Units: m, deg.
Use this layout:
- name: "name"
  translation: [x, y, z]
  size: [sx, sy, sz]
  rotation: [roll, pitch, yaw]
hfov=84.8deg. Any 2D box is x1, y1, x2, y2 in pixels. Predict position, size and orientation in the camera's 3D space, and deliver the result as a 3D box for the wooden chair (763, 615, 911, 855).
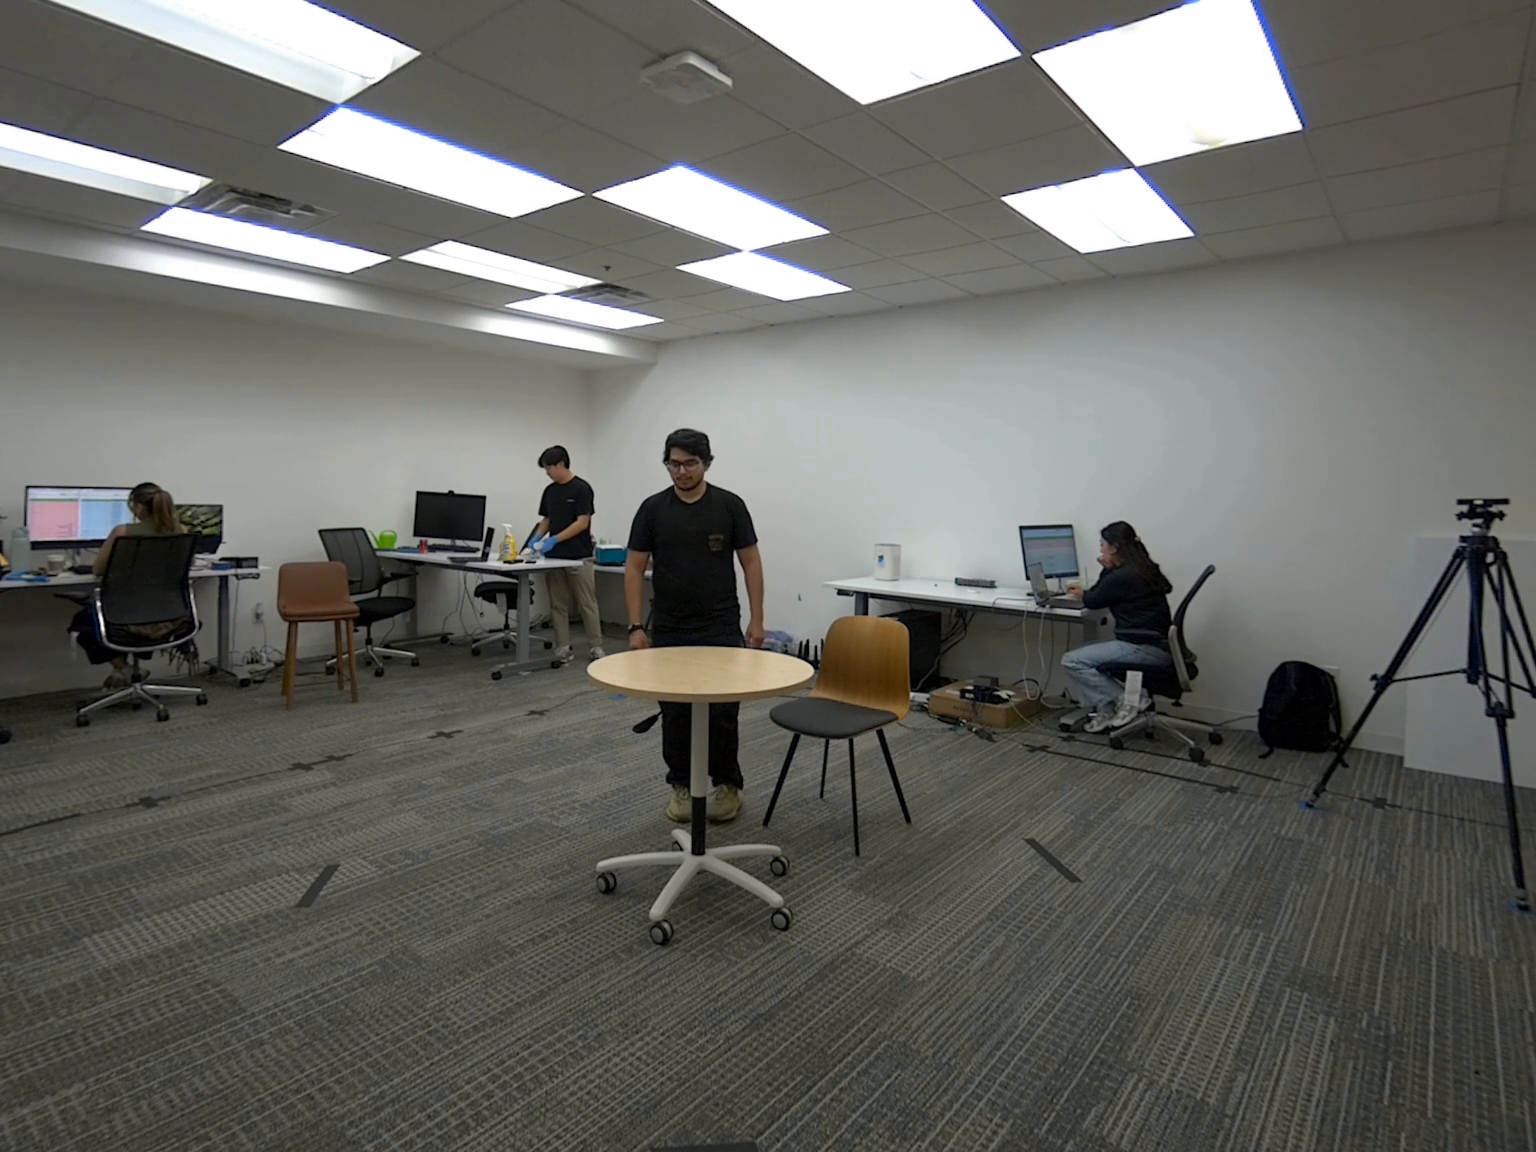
- name: "wooden chair"
  translation: [0.292, 0.611, 3.525]
  size: [0.494, 0.877, 0.506]
  rotation: [4, 0, 37]
